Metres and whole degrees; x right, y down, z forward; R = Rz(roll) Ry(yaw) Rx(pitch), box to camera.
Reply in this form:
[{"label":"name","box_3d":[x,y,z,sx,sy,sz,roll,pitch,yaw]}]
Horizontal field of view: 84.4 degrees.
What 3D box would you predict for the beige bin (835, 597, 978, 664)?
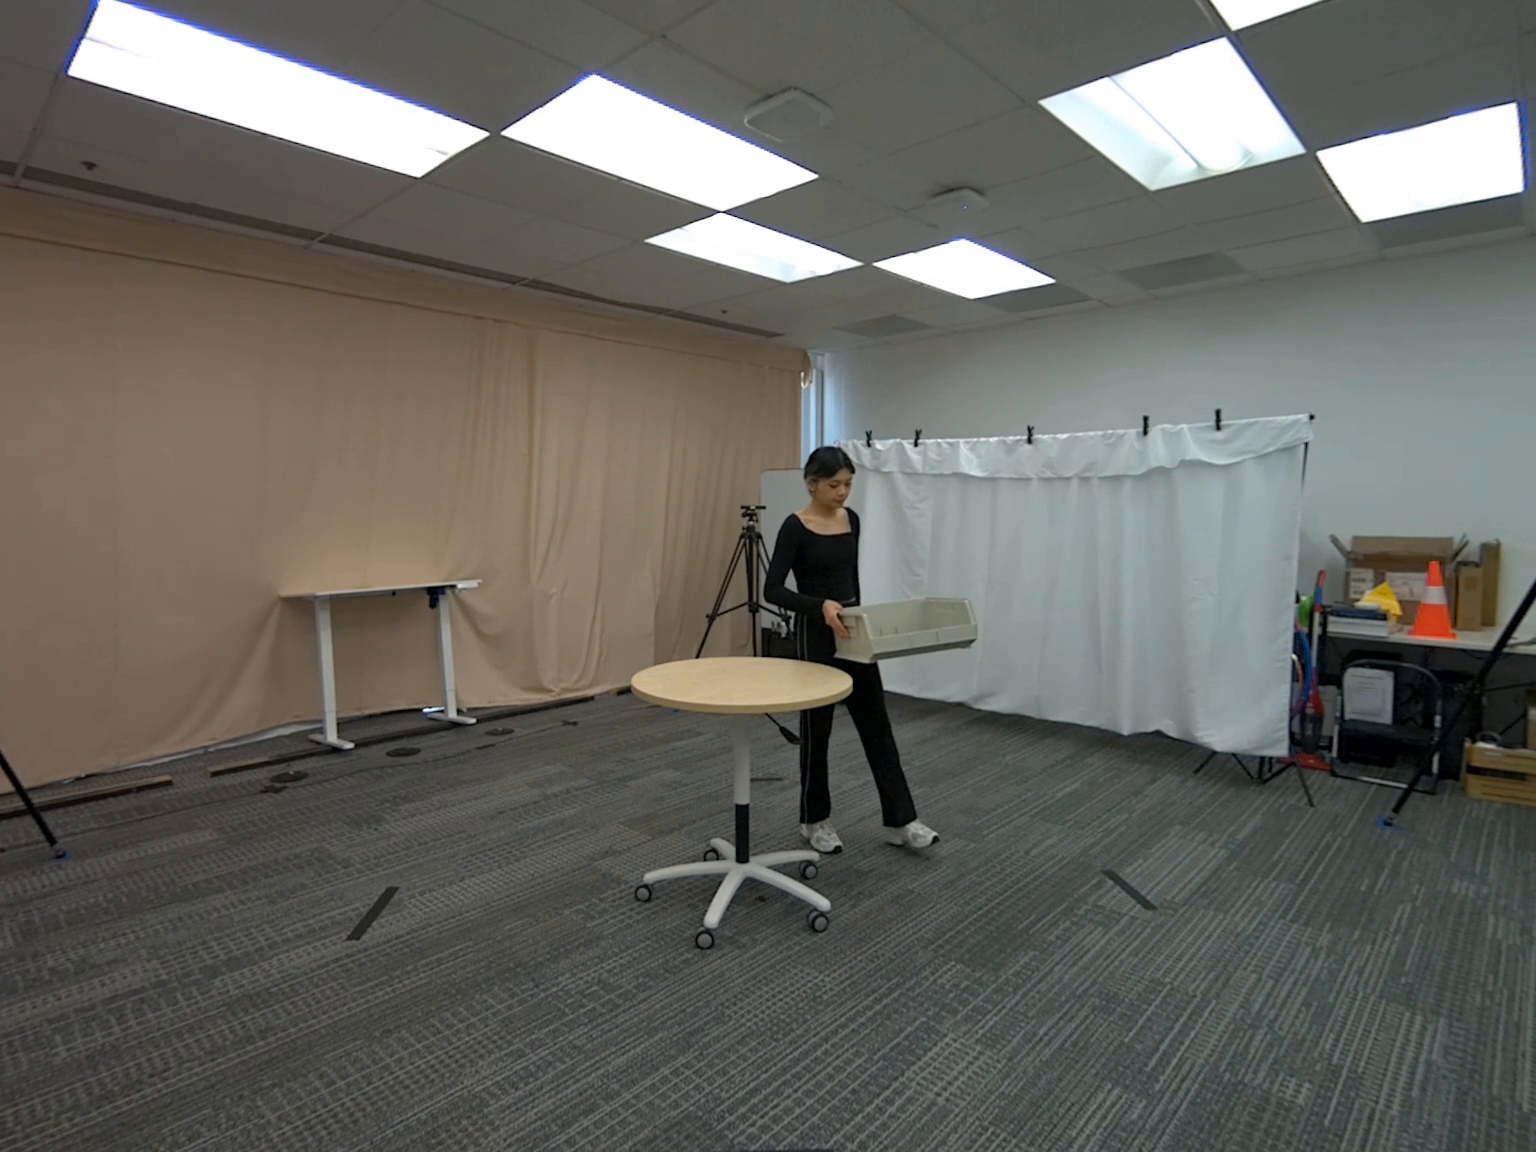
[{"label":"beige bin","box_3d":[0.503,0.196,3.108,0.416,0.189,0.383,-6,-1,-17]}]
